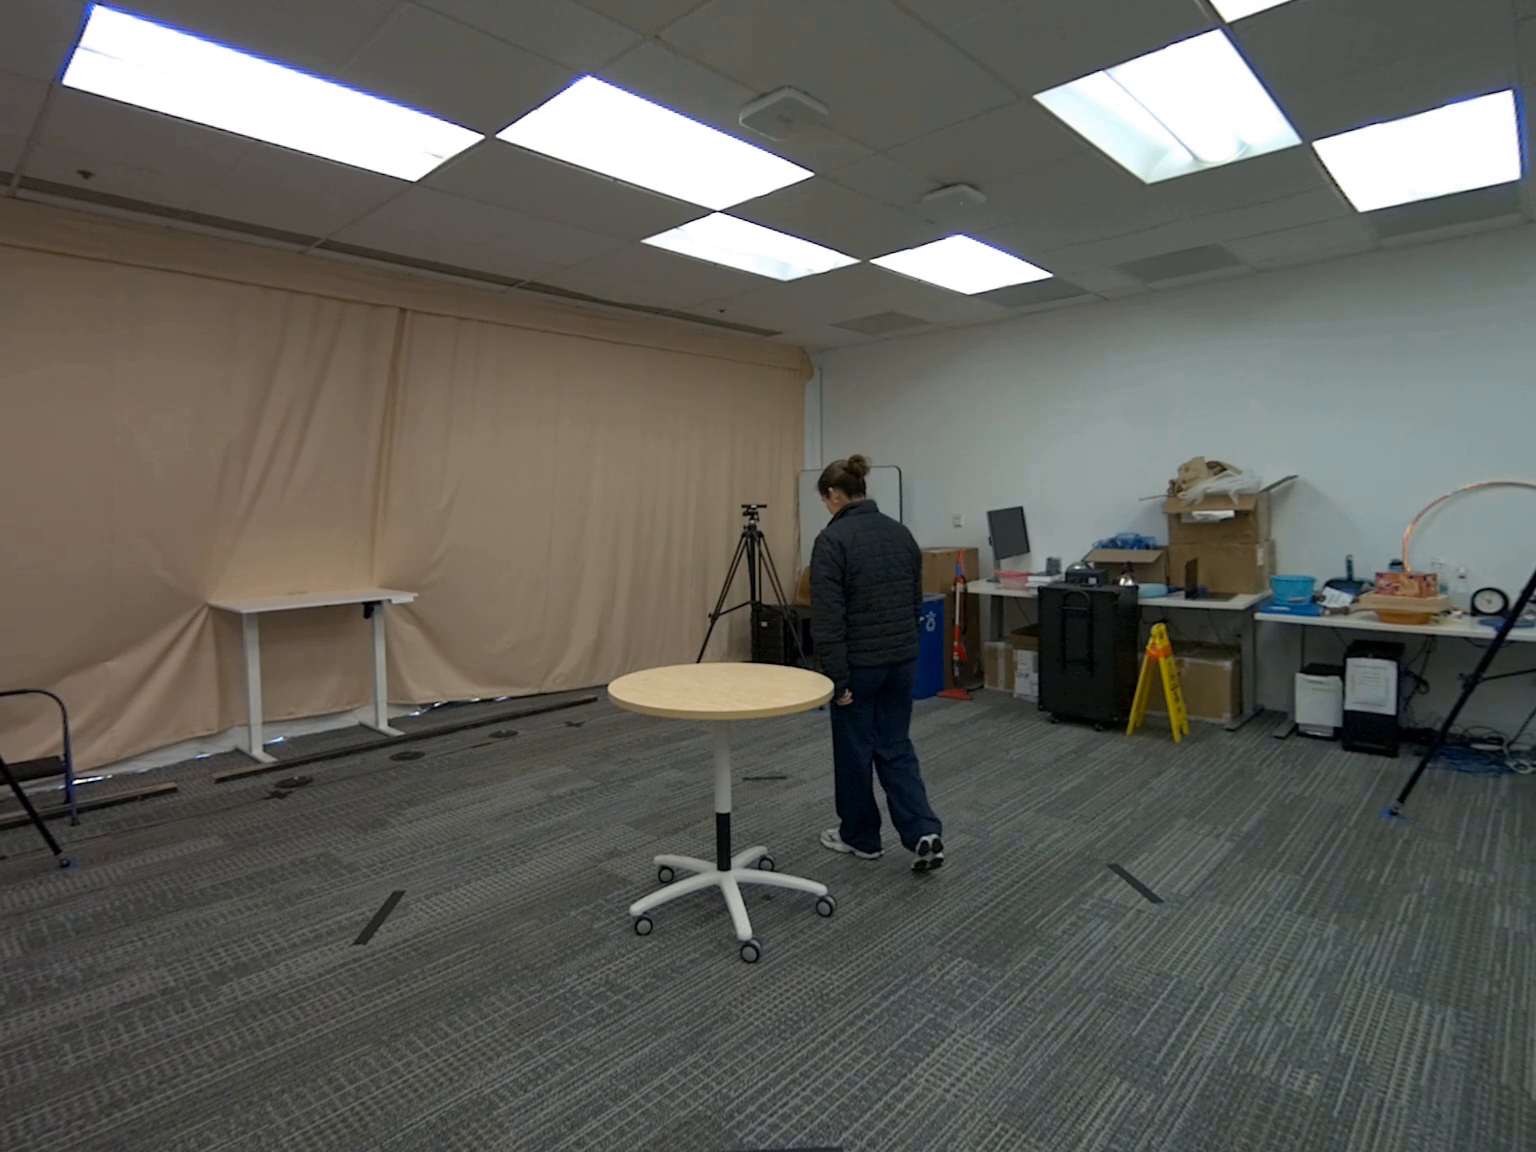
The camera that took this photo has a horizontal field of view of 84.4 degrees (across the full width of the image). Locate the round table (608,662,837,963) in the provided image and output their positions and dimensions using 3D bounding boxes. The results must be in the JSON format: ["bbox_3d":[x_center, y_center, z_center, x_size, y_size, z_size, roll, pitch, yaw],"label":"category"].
[{"bbox_3d":[-0.142,0.756,2.903,0.784,0.785,0.788,-1,4,-2],"label":"round table"}]
